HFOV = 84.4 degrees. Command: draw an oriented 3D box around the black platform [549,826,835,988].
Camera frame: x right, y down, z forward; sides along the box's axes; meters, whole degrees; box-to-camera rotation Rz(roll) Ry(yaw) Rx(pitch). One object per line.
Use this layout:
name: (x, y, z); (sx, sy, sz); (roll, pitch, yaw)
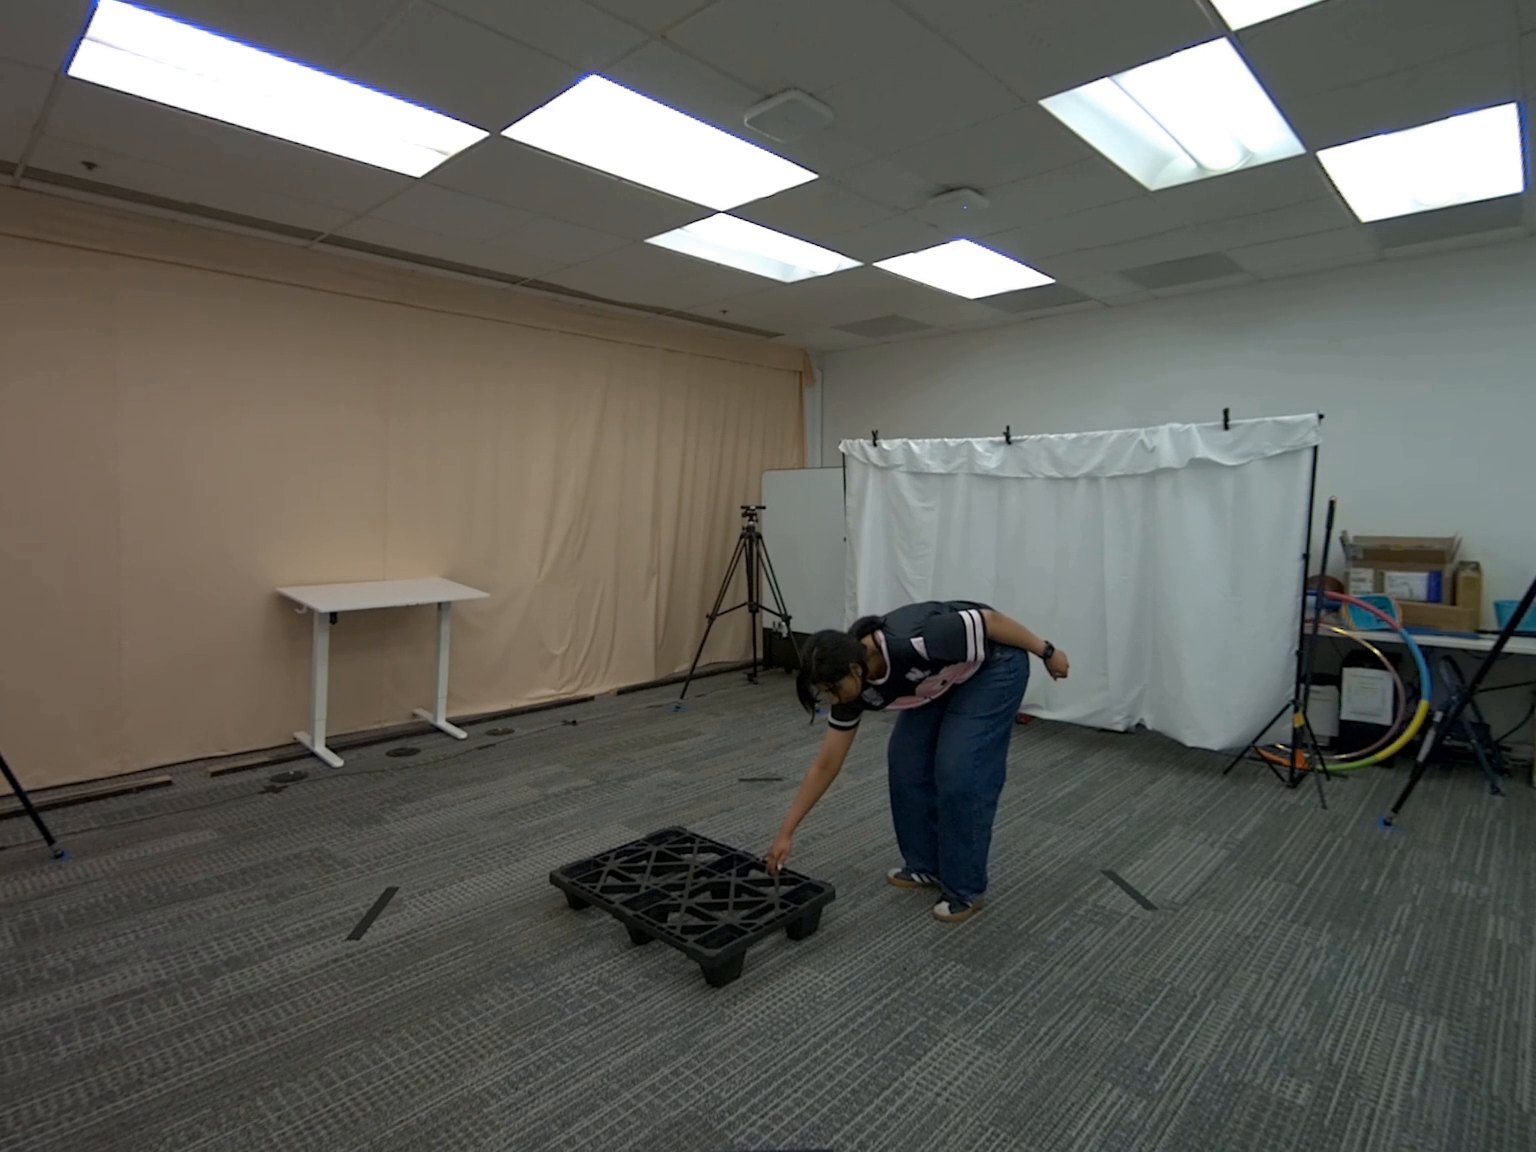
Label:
black platform: (-0.263, 1.094, 2.839); (0.832, 0.143, 0.587); (3, 7, 43)
